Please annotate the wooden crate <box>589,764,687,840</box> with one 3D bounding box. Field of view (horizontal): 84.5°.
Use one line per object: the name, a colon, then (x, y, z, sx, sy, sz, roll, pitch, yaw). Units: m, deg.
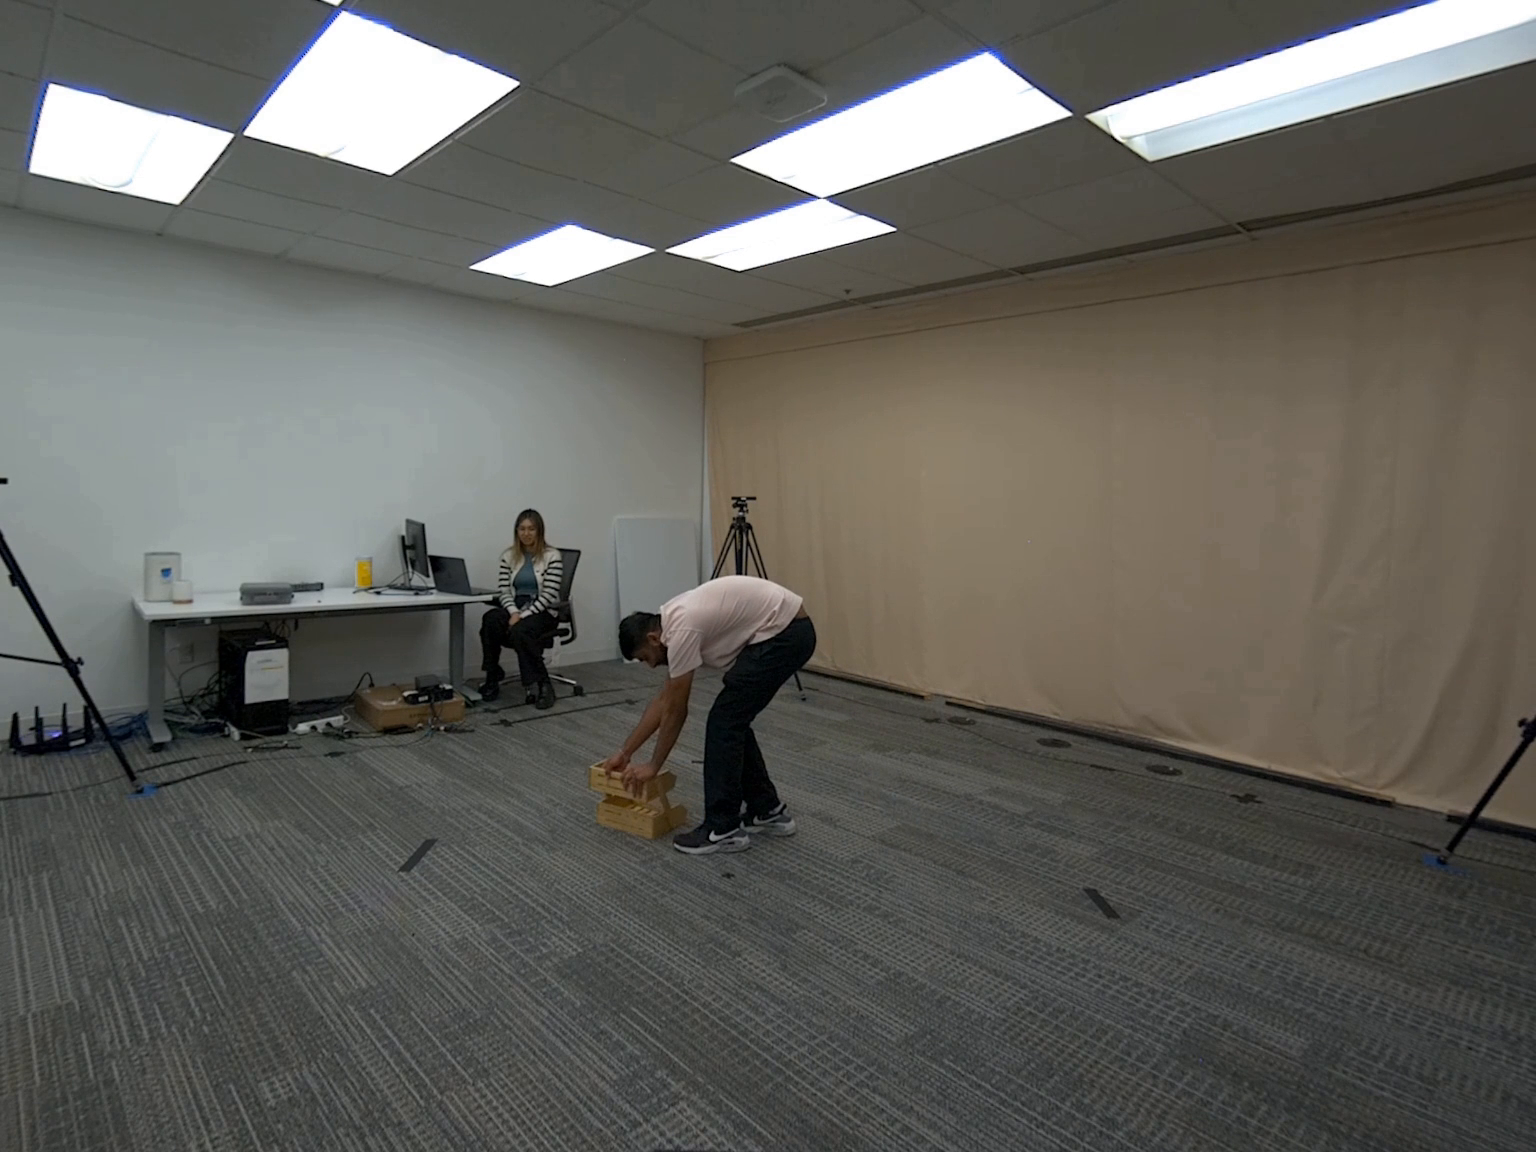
wooden crate: (-0.551, 0.921, 3.574, 0.331, 0.272, 0.296, 4, 6, 29)
